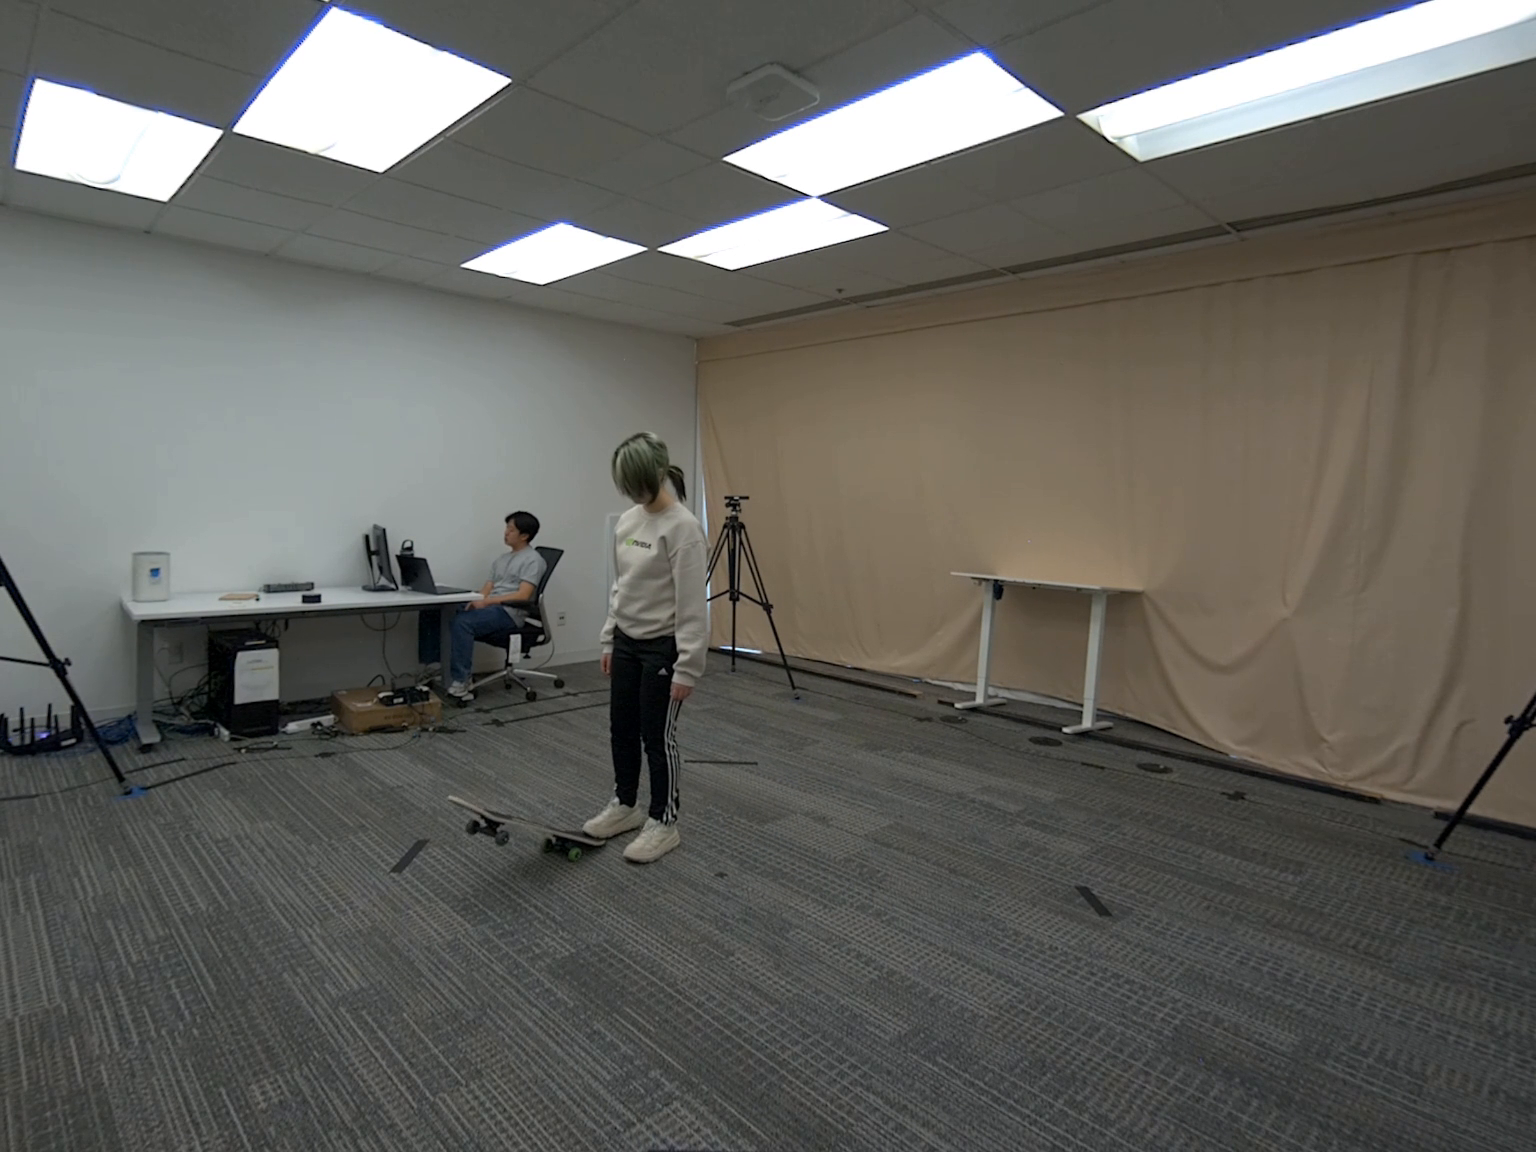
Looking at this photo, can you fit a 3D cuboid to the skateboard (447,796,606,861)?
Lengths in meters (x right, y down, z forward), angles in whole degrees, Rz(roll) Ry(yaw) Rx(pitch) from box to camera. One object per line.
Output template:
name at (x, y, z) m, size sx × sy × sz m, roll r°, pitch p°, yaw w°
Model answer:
skateboard at (-0.887, 0.946, 3.092) m, size 0.198 × 0.111 × 0.761 m, roll 6°, pitch -22°, yaw 32°
